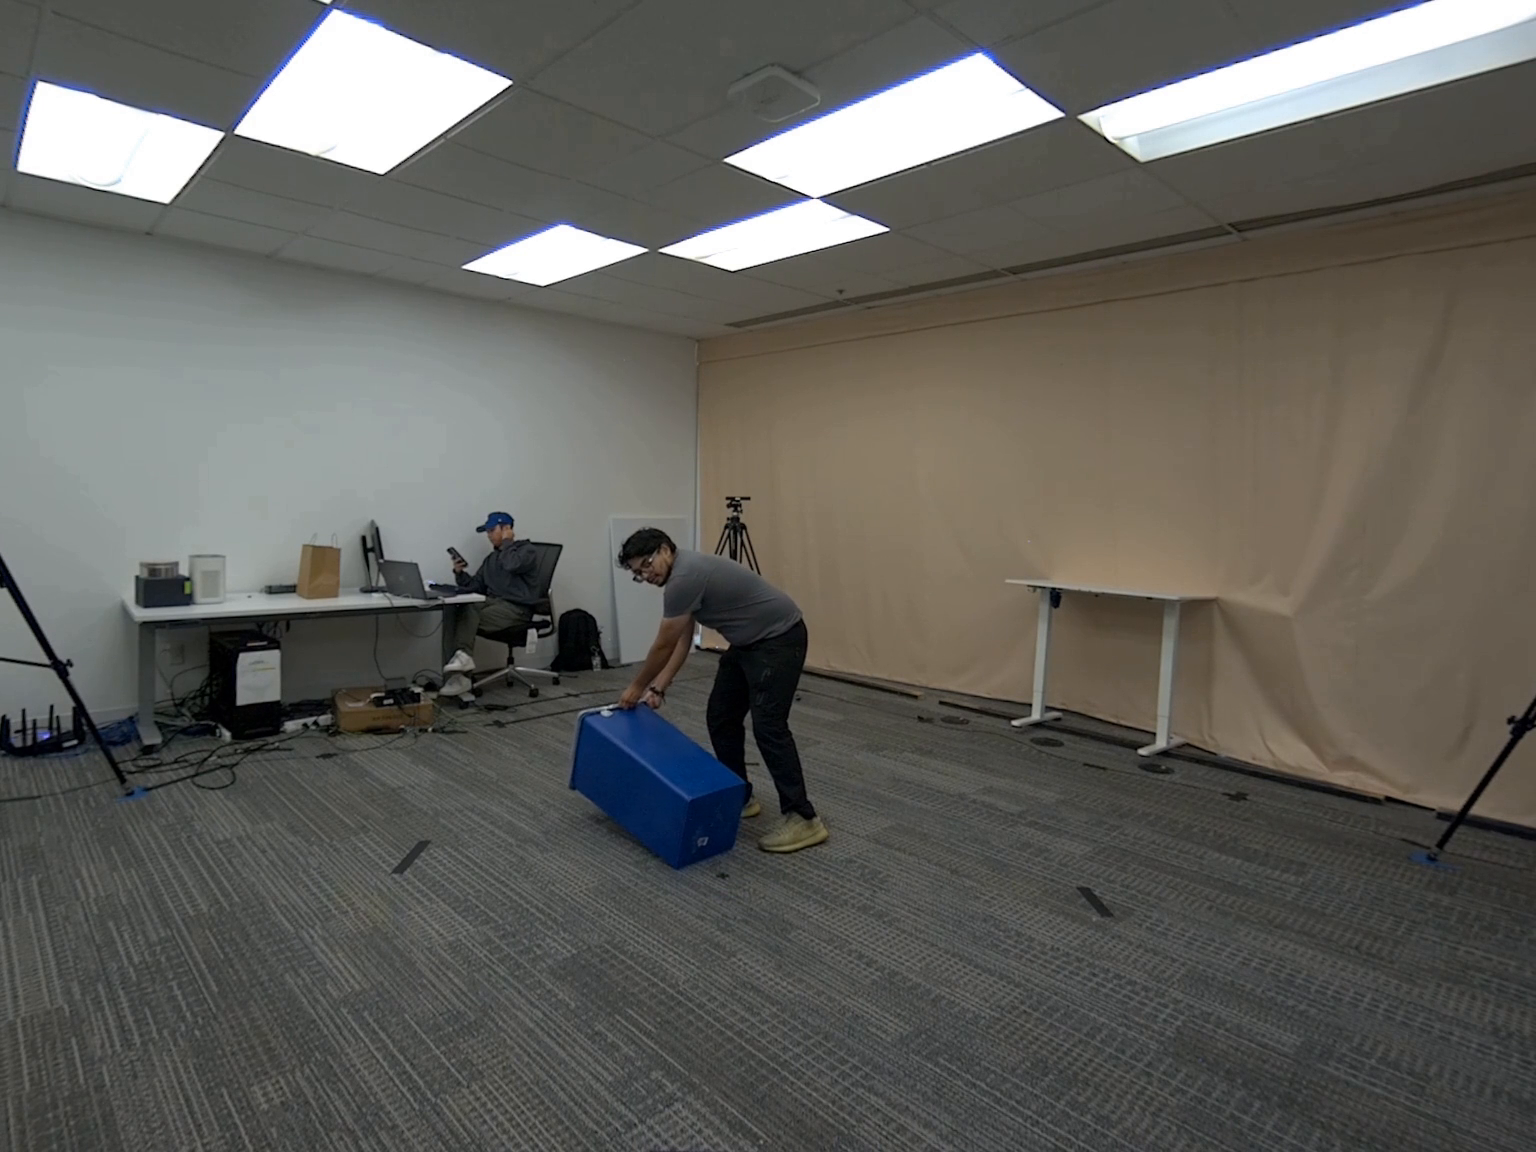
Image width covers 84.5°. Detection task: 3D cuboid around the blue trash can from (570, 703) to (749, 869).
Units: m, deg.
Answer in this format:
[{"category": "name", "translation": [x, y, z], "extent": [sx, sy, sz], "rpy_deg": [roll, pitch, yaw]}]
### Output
[{"category": "blue trash can", "translation": [-0.475, 0.844, 3.433], "extent": [0.365, 0.375, 0.735], "rpy_deg": [-1, 17, -44]}]
